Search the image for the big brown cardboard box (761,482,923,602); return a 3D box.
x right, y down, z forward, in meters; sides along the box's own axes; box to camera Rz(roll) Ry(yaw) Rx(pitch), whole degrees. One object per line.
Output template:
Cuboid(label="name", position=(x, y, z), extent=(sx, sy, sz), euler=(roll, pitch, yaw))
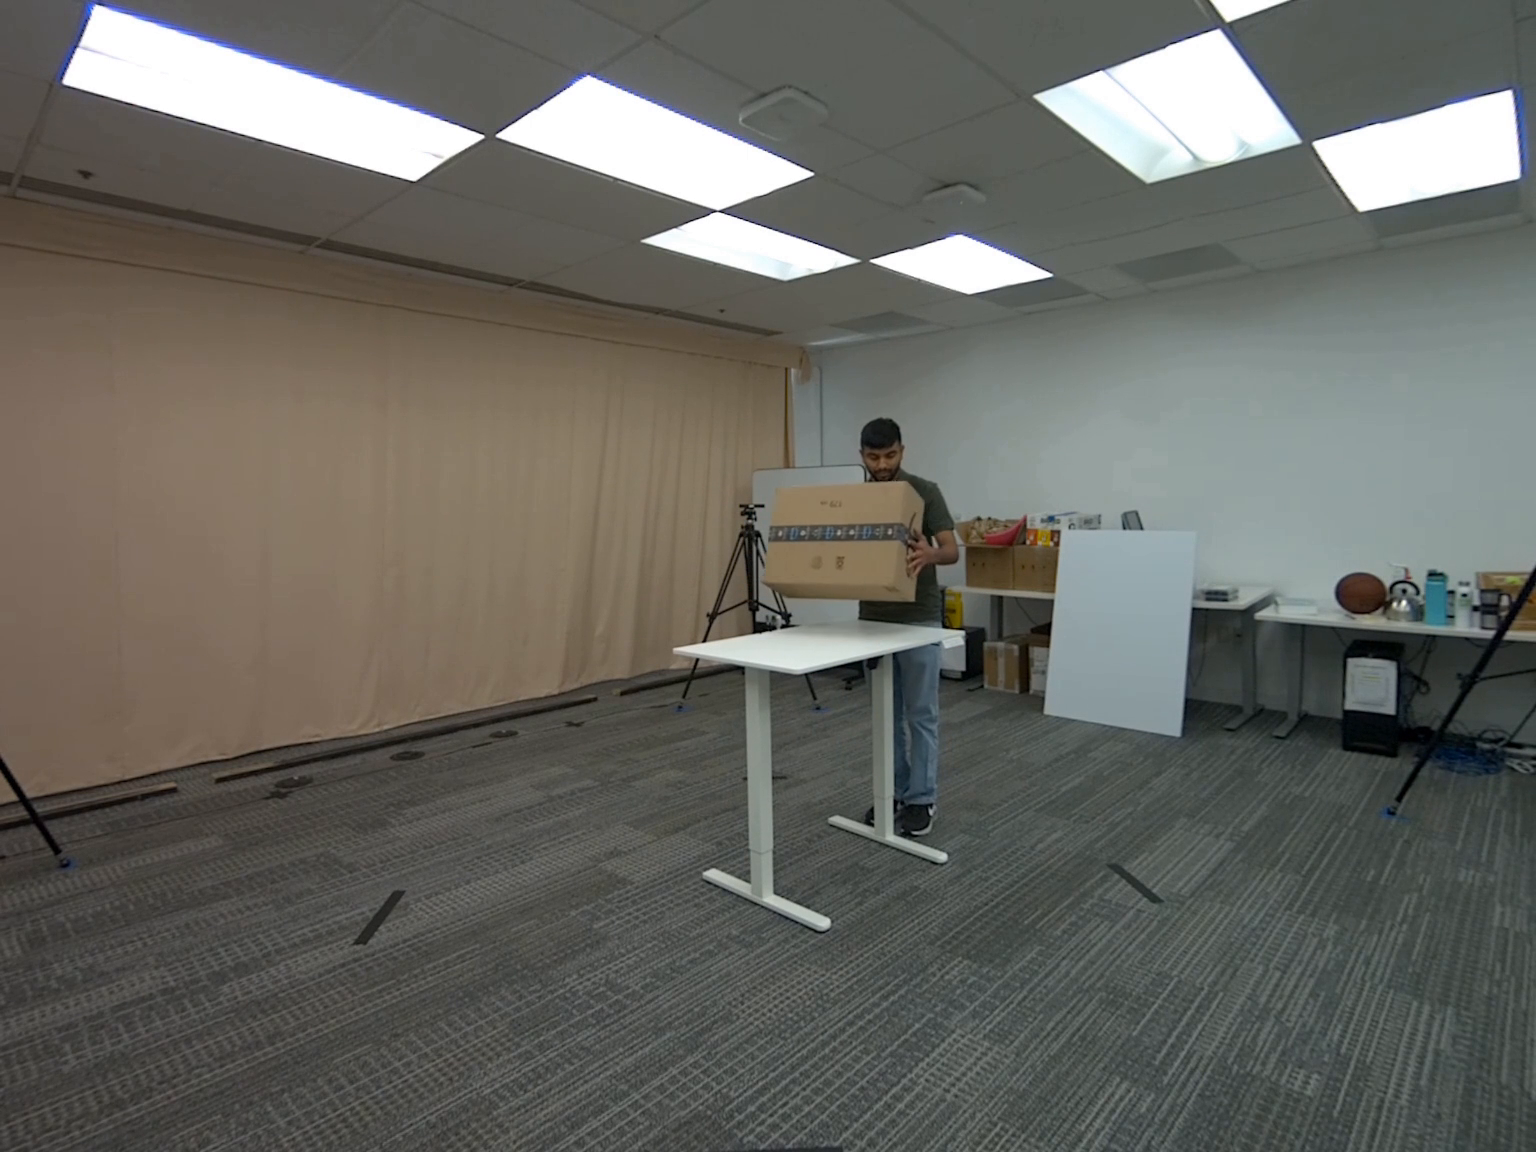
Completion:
Cuboid(label="big brown cardboard box", position=(0.300, -0.126, 3.347), extent=(0.606, 0.420, 0.225), euler=(0, -17, 32))
